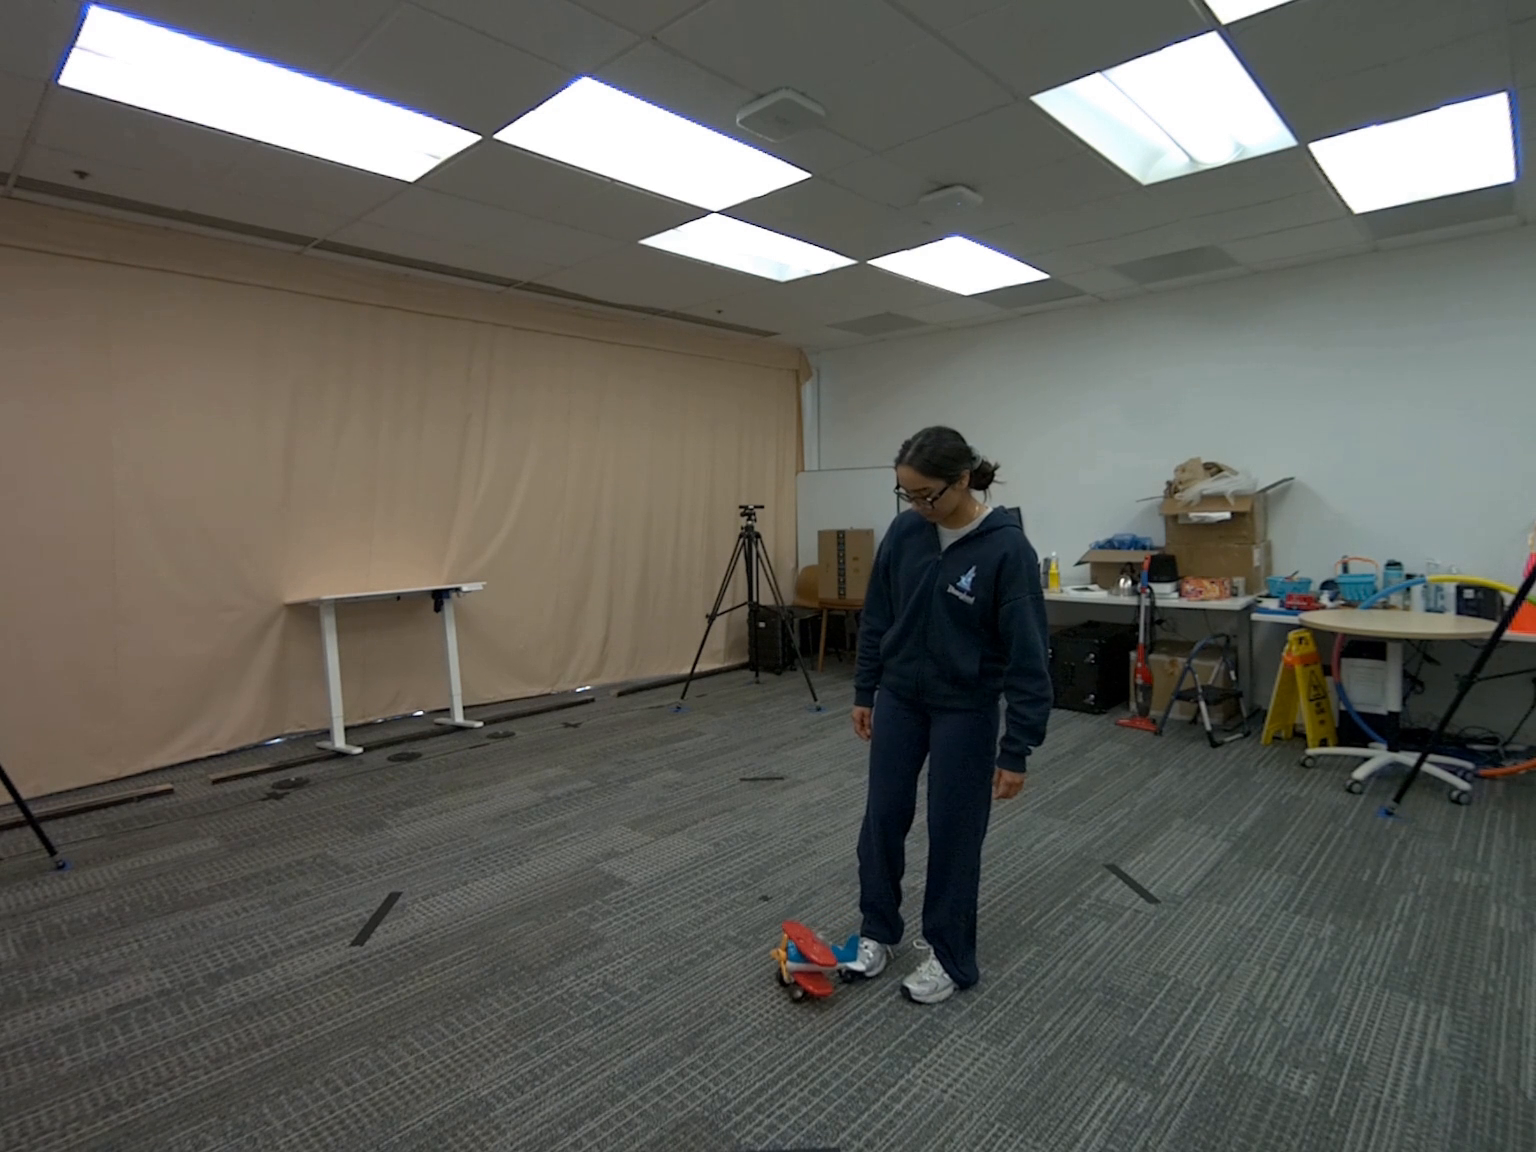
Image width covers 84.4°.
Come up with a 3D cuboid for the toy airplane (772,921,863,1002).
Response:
[{"bbox_3d":[0.139,1.115,2.438,0.259,0.156,0.252,3,7,39],"label":"toy airplane"}]
